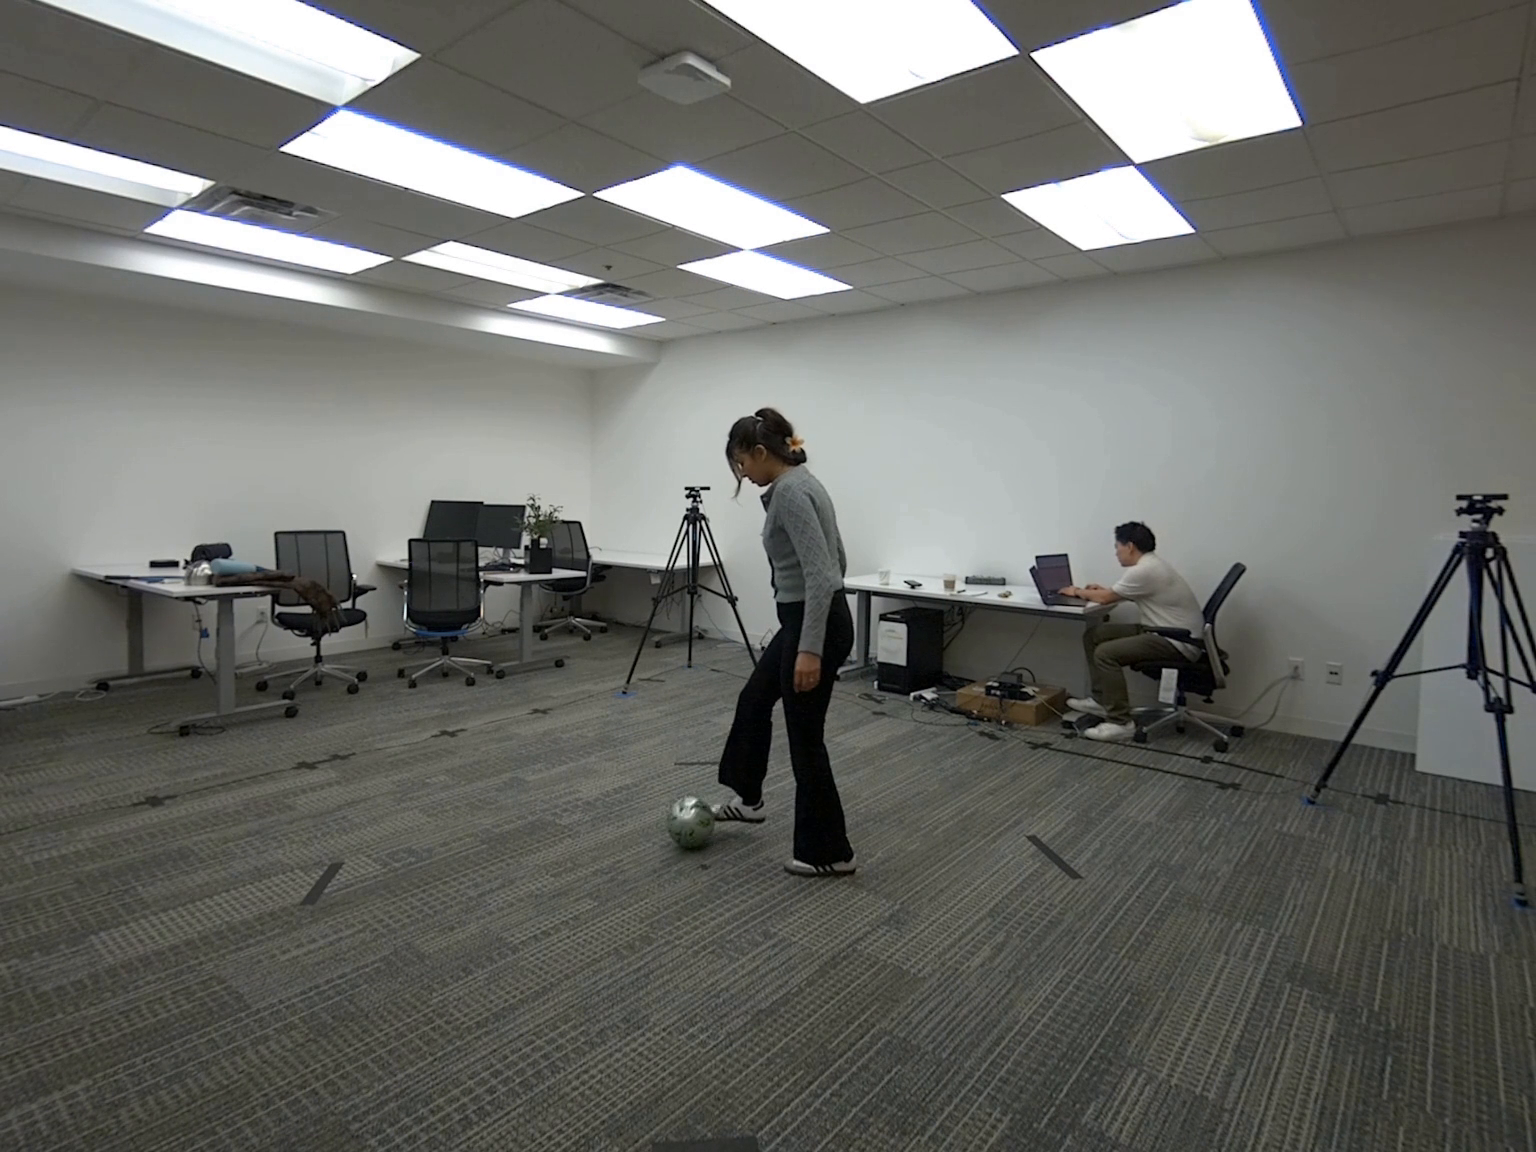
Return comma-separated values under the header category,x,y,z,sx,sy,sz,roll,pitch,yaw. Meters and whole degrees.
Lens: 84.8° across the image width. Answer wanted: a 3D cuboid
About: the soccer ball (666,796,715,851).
category,x,y,z,sx,sy,sz,roll,pitch,yaw
soccer ball,-0.305,0.948,3.290,0.187,0.187,0.188,1,4,-2
